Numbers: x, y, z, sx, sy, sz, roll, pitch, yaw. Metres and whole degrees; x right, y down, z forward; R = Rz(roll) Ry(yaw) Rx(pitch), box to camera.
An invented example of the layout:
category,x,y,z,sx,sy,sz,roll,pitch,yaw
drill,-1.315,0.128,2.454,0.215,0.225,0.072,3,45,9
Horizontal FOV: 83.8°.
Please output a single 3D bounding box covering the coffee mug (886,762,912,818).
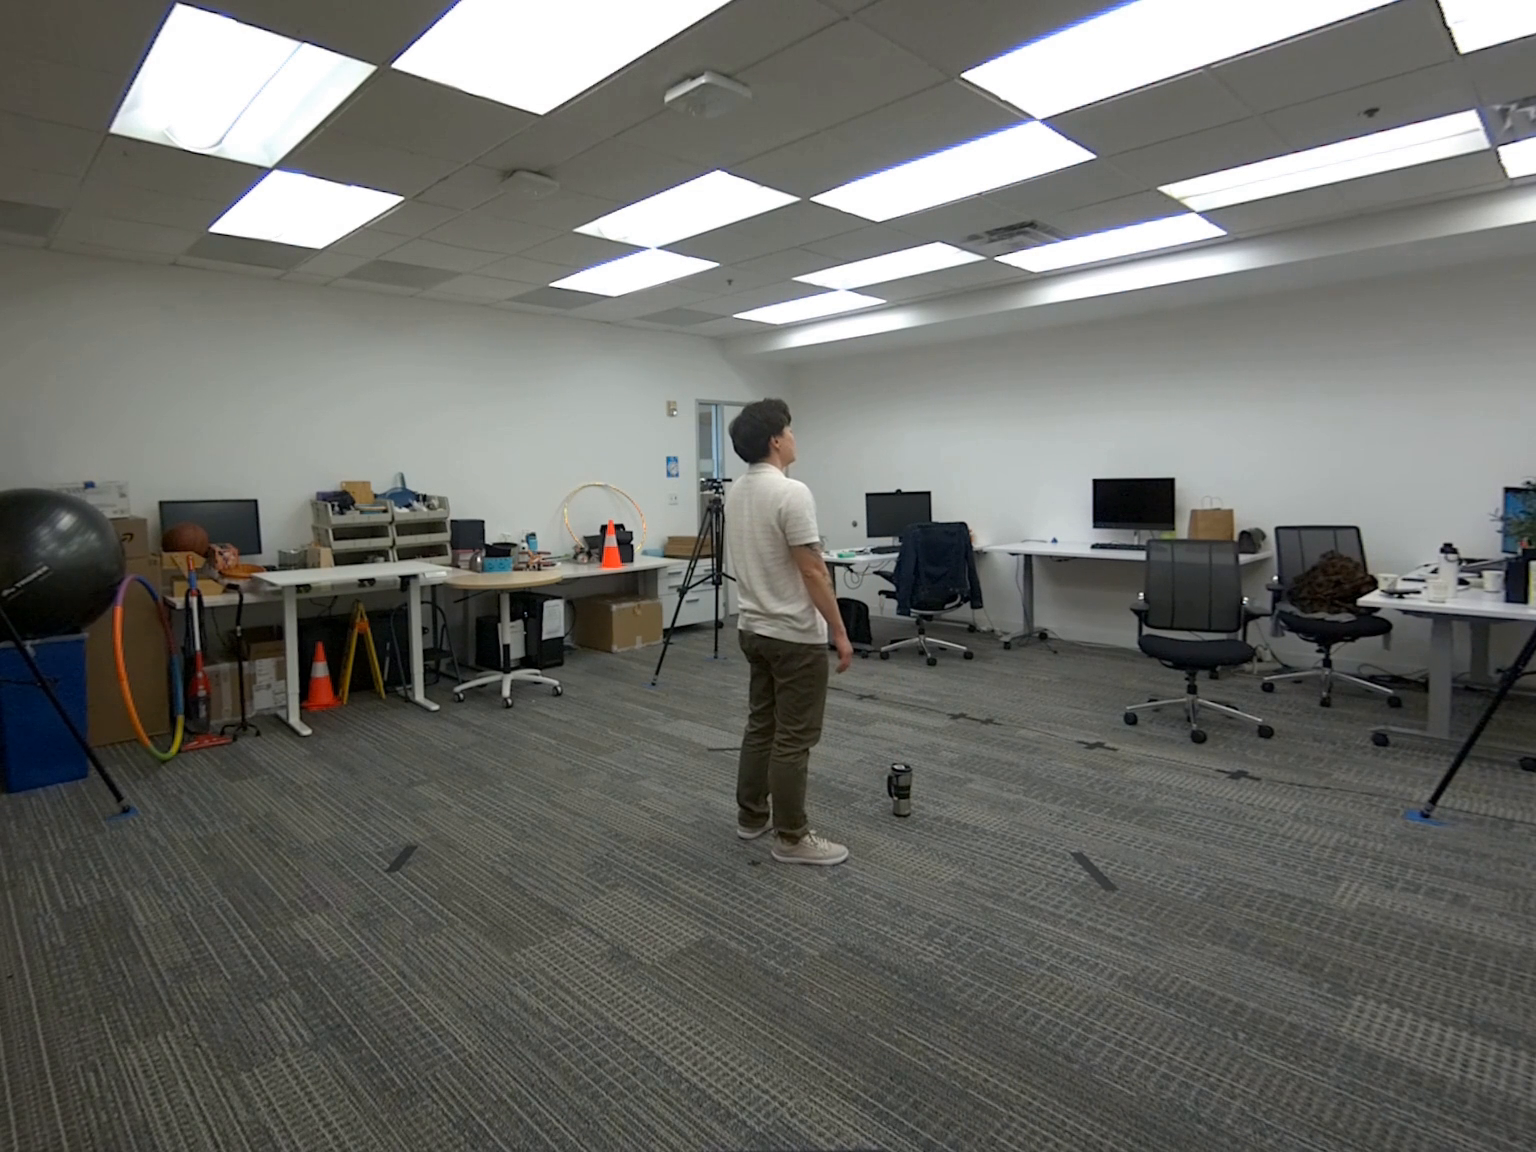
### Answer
category,x,y,z,sx,sy,sz,roll,pitch,yaw
coffee mug,0.534,0.888,3.531,0.120,0.202,0.090,2,5,-16
